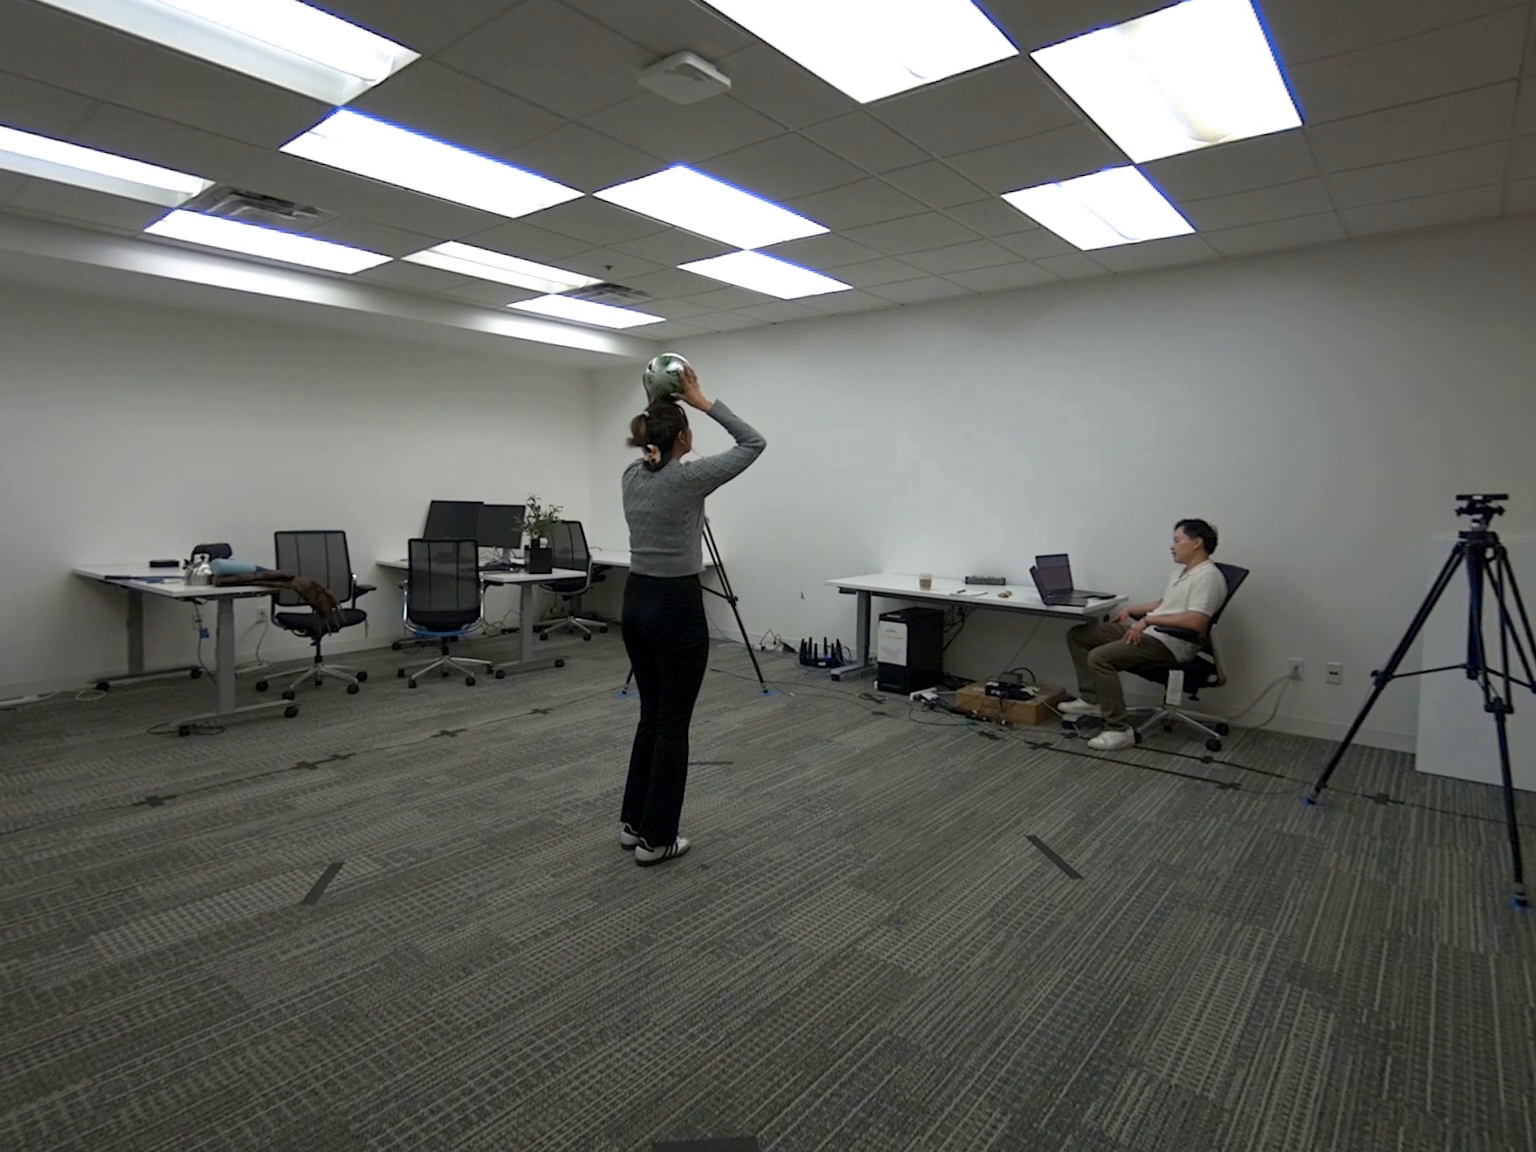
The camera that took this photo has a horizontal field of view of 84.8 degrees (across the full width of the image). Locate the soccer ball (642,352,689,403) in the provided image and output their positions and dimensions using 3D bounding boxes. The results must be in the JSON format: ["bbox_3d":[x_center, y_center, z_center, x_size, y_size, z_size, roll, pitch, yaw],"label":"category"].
[{"bbox_3d":[-0.388,-0.758,3.262,0.187,0.187,0.188,1,4,-2],"label":"soccer ball"}]
